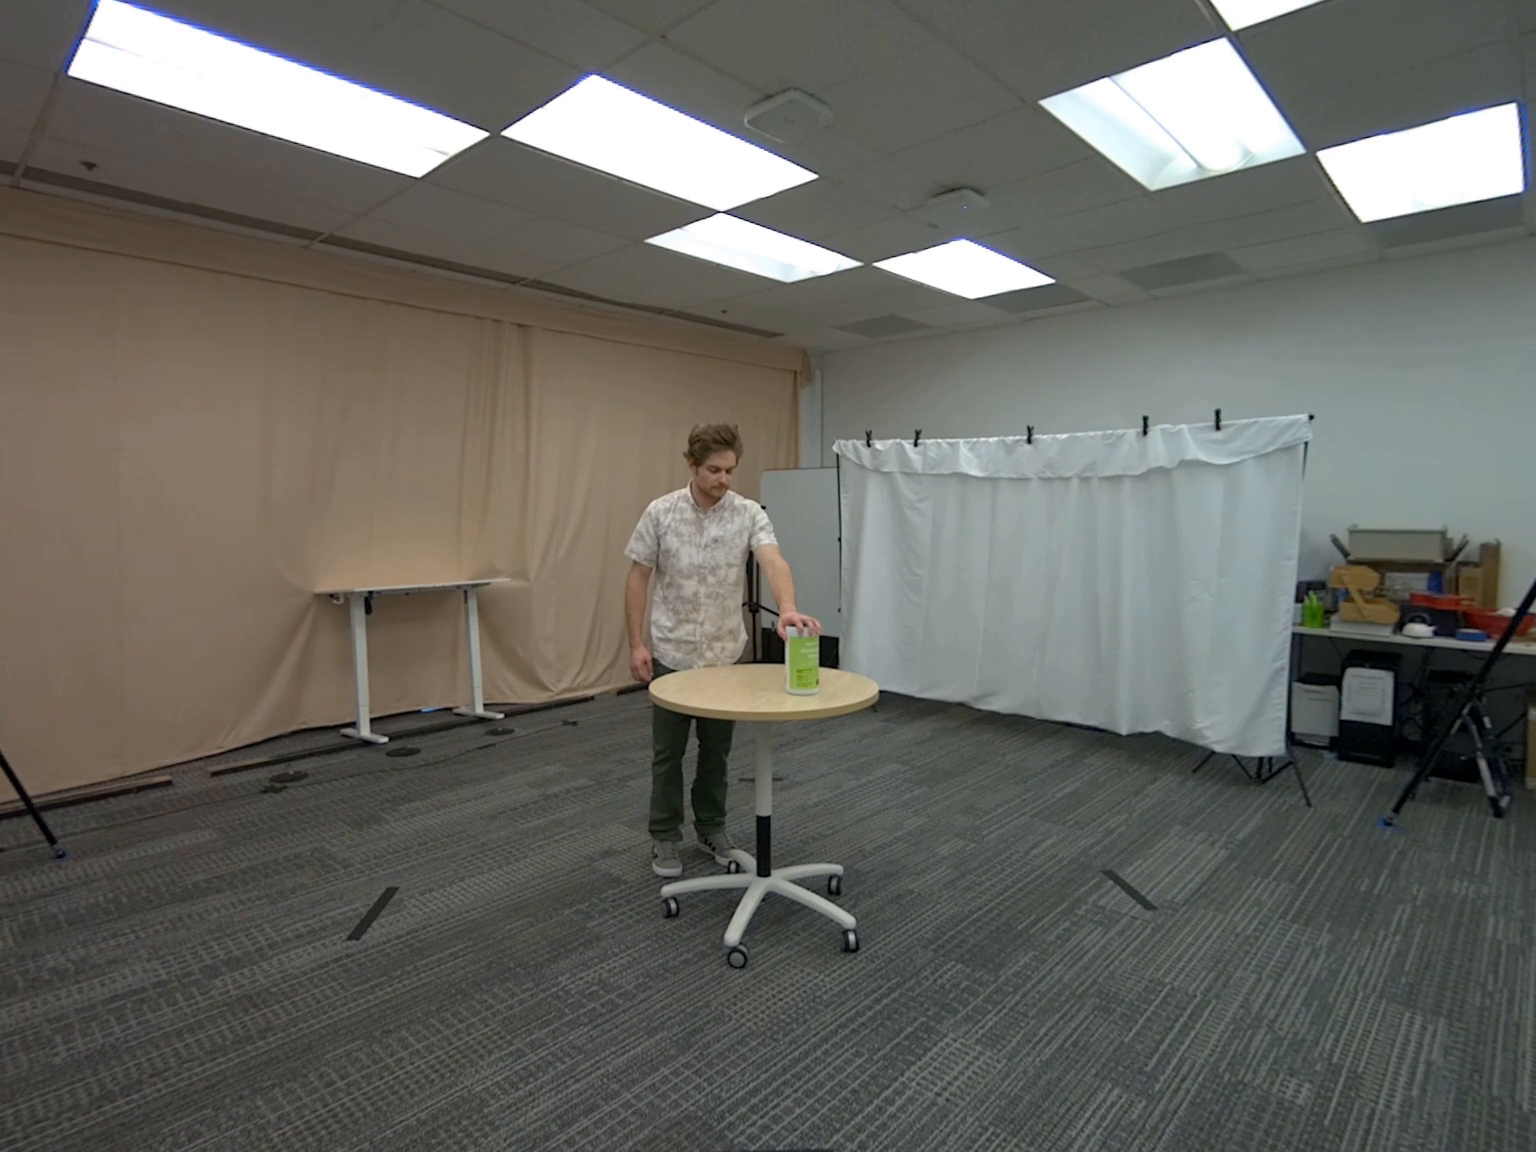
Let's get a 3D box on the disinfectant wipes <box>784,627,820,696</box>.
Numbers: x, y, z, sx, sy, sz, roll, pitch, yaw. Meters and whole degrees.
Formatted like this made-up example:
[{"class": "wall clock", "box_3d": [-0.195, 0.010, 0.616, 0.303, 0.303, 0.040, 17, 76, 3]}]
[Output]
[{"class": "disinfectant wipes", "box_3d": [0.111, 0.271, 2.697, 0.118, 0.217, 0.118, 0, 3, -2]}]
